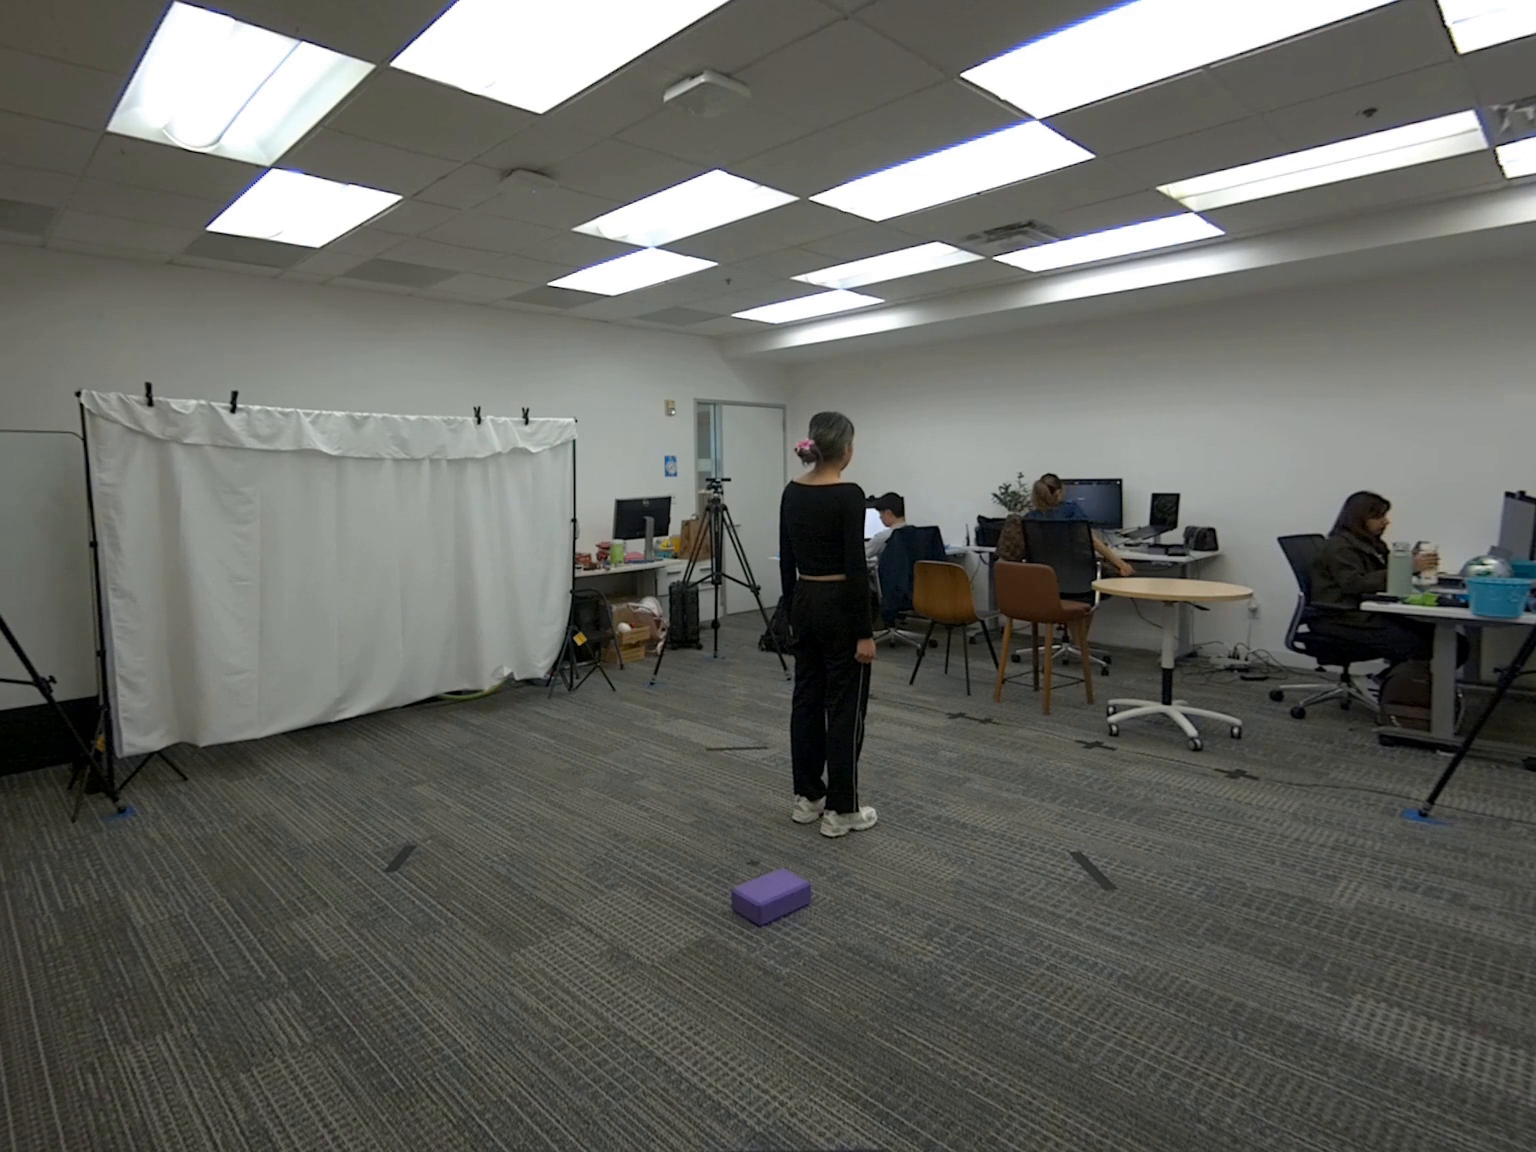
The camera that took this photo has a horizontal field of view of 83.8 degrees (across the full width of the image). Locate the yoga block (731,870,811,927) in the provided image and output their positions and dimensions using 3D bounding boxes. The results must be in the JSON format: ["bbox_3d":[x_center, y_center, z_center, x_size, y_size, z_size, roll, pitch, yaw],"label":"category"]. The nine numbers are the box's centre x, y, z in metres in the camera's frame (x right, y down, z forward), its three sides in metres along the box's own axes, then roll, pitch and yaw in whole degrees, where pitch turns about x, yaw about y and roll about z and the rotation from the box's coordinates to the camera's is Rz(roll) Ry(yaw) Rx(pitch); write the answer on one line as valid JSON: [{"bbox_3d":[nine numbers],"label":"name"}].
[{"bbox_3d":[0.016,1.042,2.775,0.223,0.076,0.153,-7,8,-41],"label":"yoga block"}]
